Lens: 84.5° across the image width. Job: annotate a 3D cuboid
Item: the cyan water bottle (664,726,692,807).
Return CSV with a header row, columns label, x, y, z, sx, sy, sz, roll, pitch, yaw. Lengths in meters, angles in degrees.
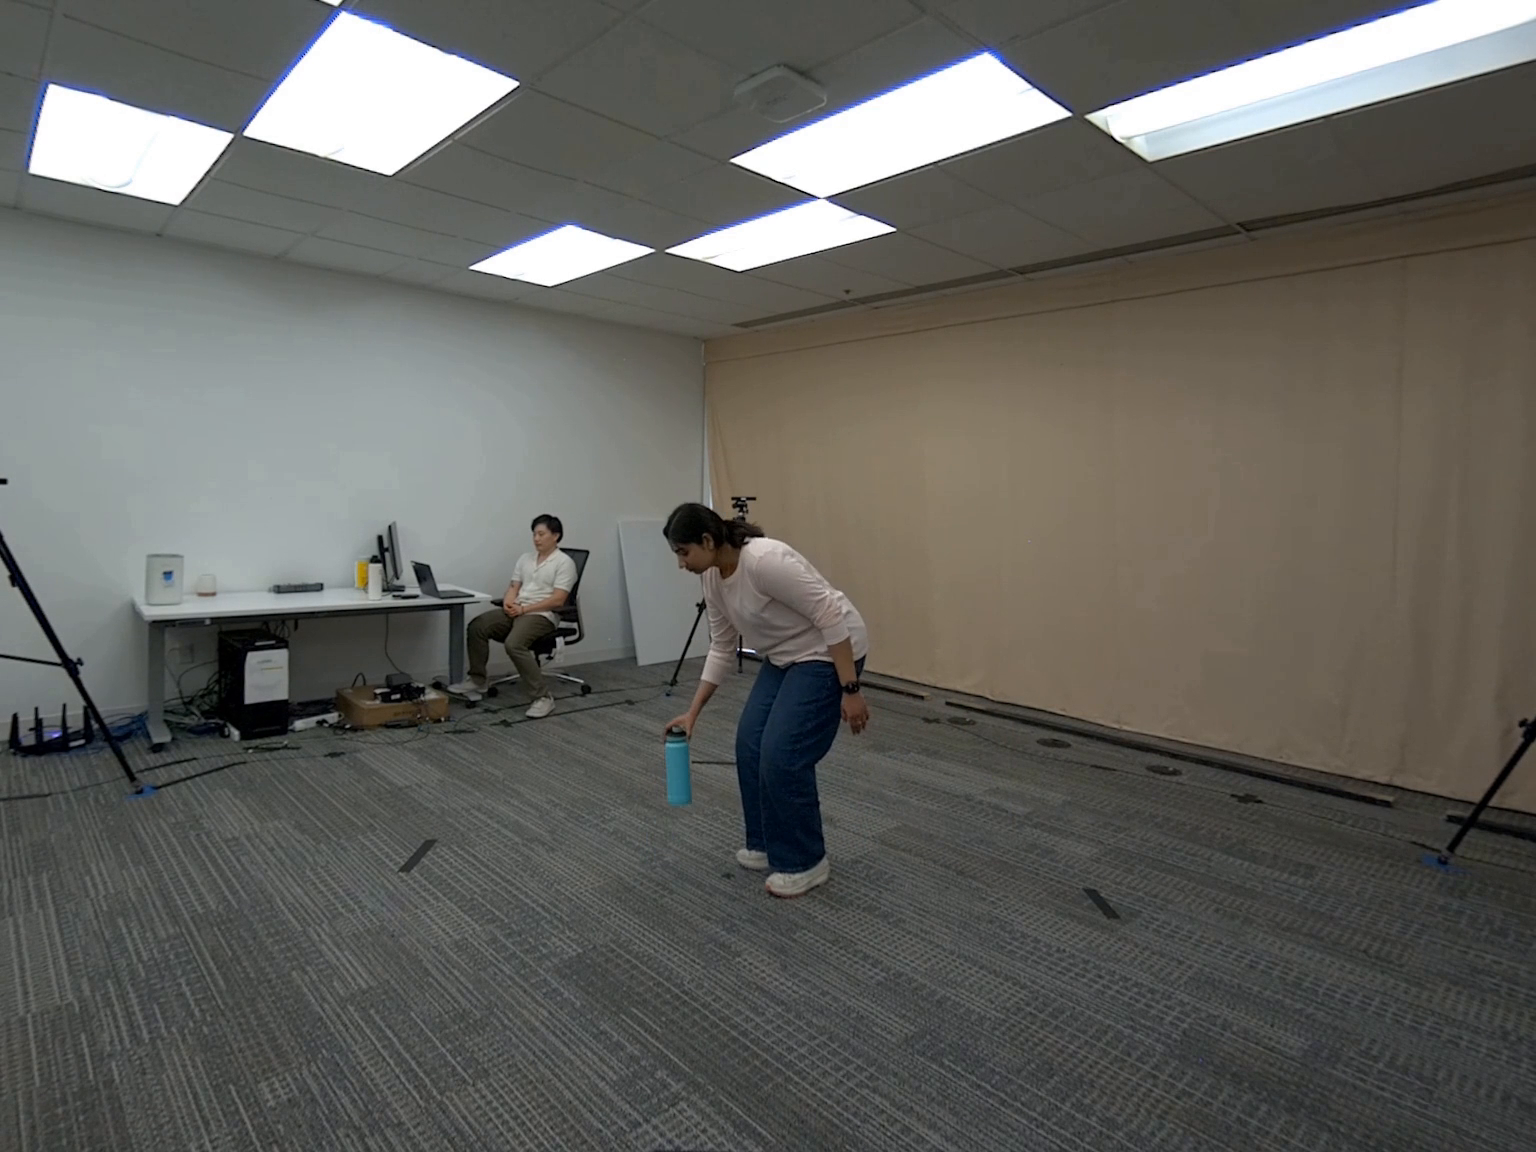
label,x,y,z,sx,sy,sz,roll,pitch,yaw
cyan water bottle,-0.347,0.710,3.132,0.092,0.284,0.092,-5,-1,-1
